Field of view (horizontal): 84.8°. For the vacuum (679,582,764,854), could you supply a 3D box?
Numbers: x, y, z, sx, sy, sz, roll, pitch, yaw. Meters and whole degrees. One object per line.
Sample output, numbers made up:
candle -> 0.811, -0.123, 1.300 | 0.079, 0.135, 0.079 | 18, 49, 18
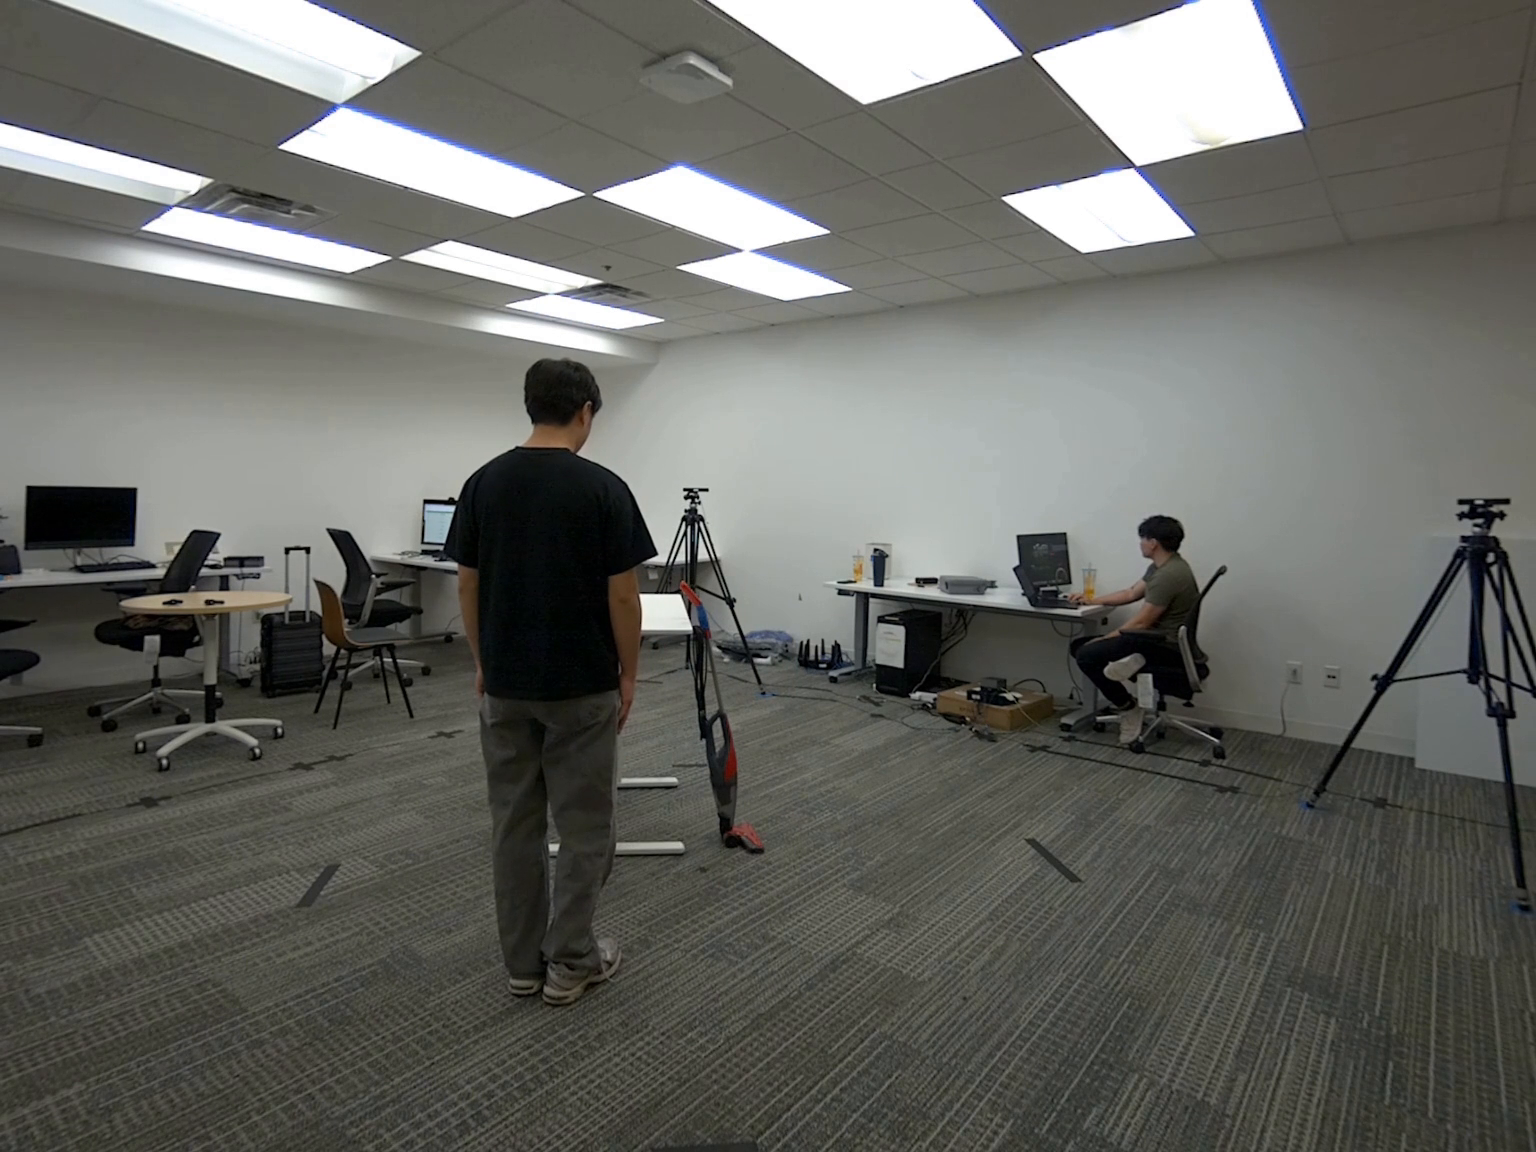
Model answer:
vacuum -> -0.230, 0.540, 3.325 | 0.142, 1.043, 0.256 | -13, 5, -12
